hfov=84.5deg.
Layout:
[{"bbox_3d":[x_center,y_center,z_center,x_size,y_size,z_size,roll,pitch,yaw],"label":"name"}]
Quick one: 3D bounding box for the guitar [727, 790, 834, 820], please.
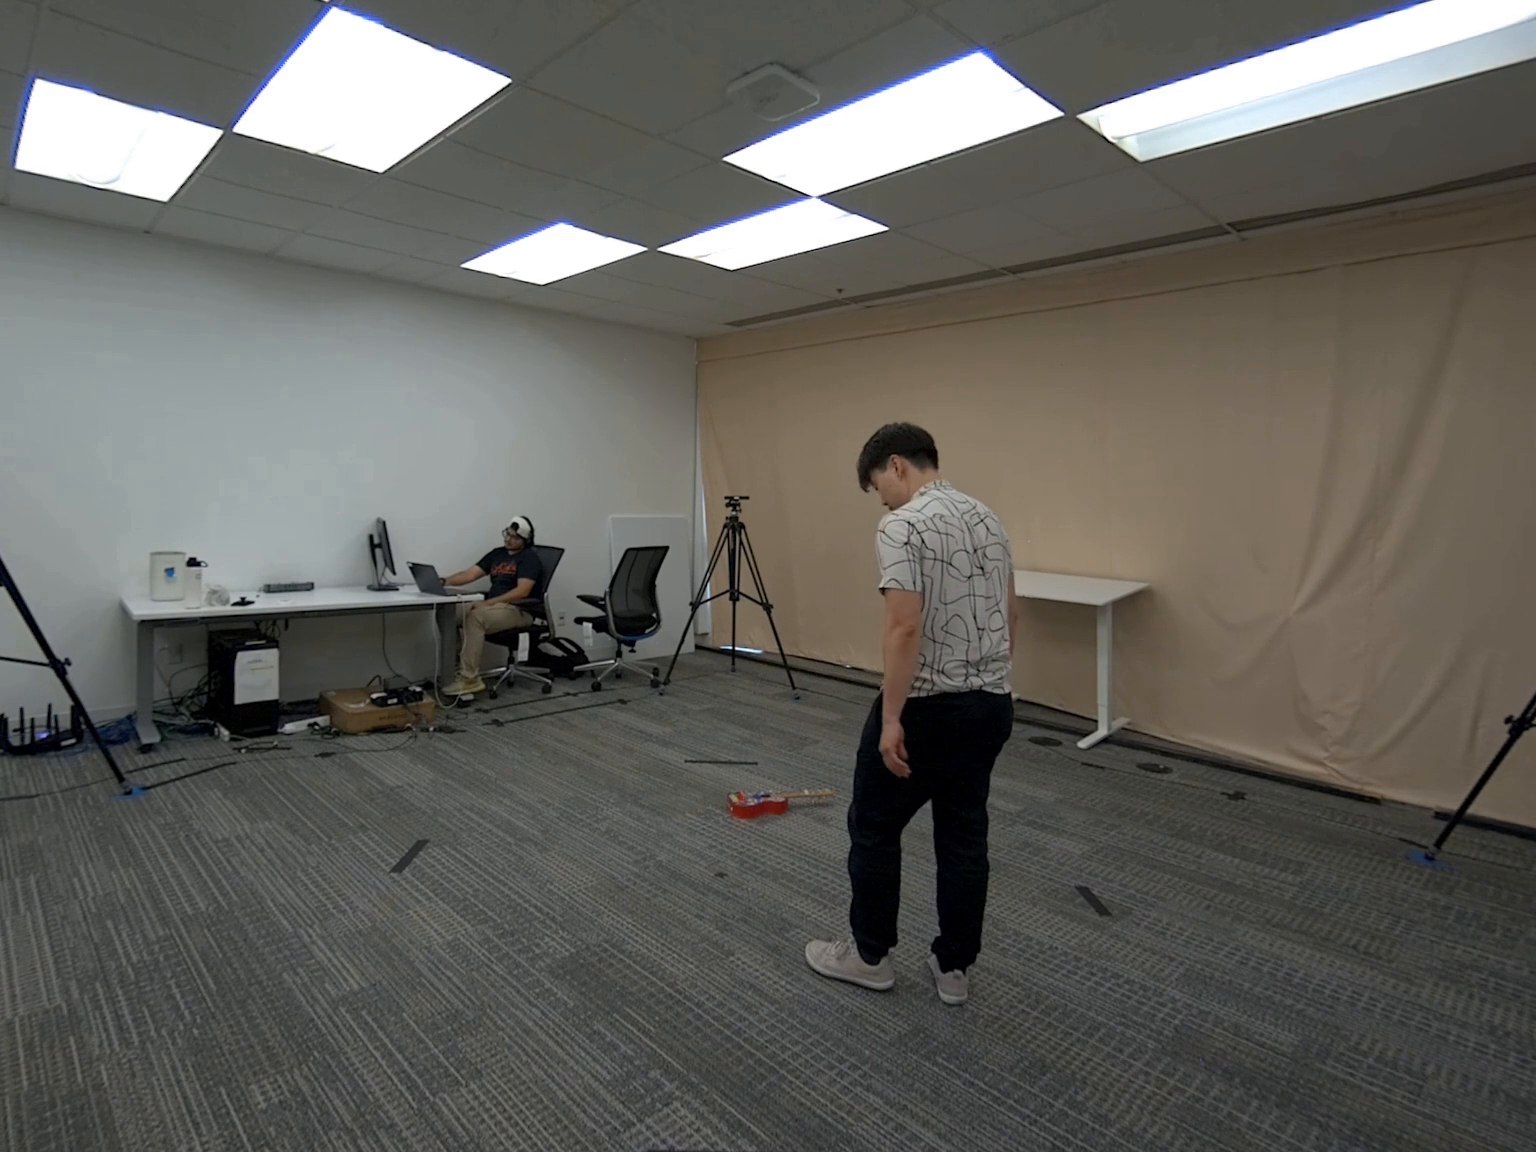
[{"bbox_3d":[0.056,1.017,3.773,0.495,0.070,0.194,0,4,-7],"label":"guitar"}]
